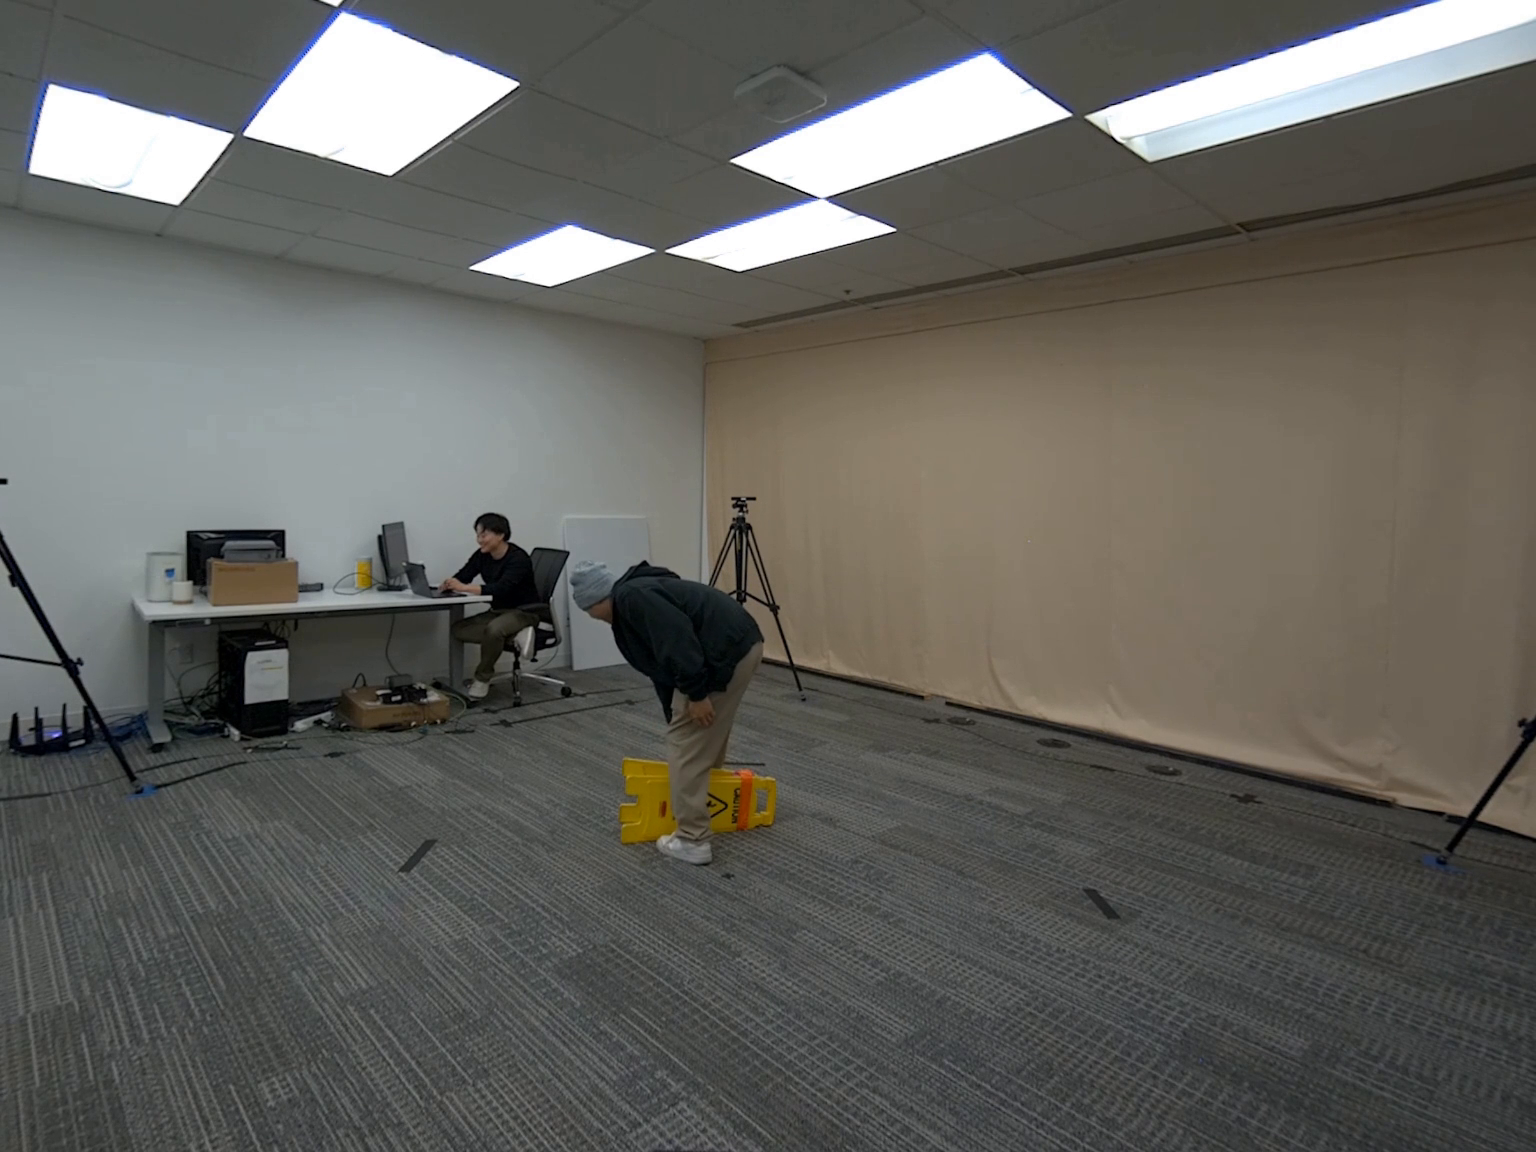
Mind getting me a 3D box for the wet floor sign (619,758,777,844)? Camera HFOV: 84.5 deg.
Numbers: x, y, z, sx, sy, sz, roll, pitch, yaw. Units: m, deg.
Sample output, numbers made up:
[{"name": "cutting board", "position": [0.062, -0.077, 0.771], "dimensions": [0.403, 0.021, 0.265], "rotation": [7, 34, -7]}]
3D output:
[{"name": "wet floor sign", "position": [-0.299, 0.938, 3.547], "dimensions": [0.640, 0.281, 0.293], "rotation": [3, 5, -11]}]
